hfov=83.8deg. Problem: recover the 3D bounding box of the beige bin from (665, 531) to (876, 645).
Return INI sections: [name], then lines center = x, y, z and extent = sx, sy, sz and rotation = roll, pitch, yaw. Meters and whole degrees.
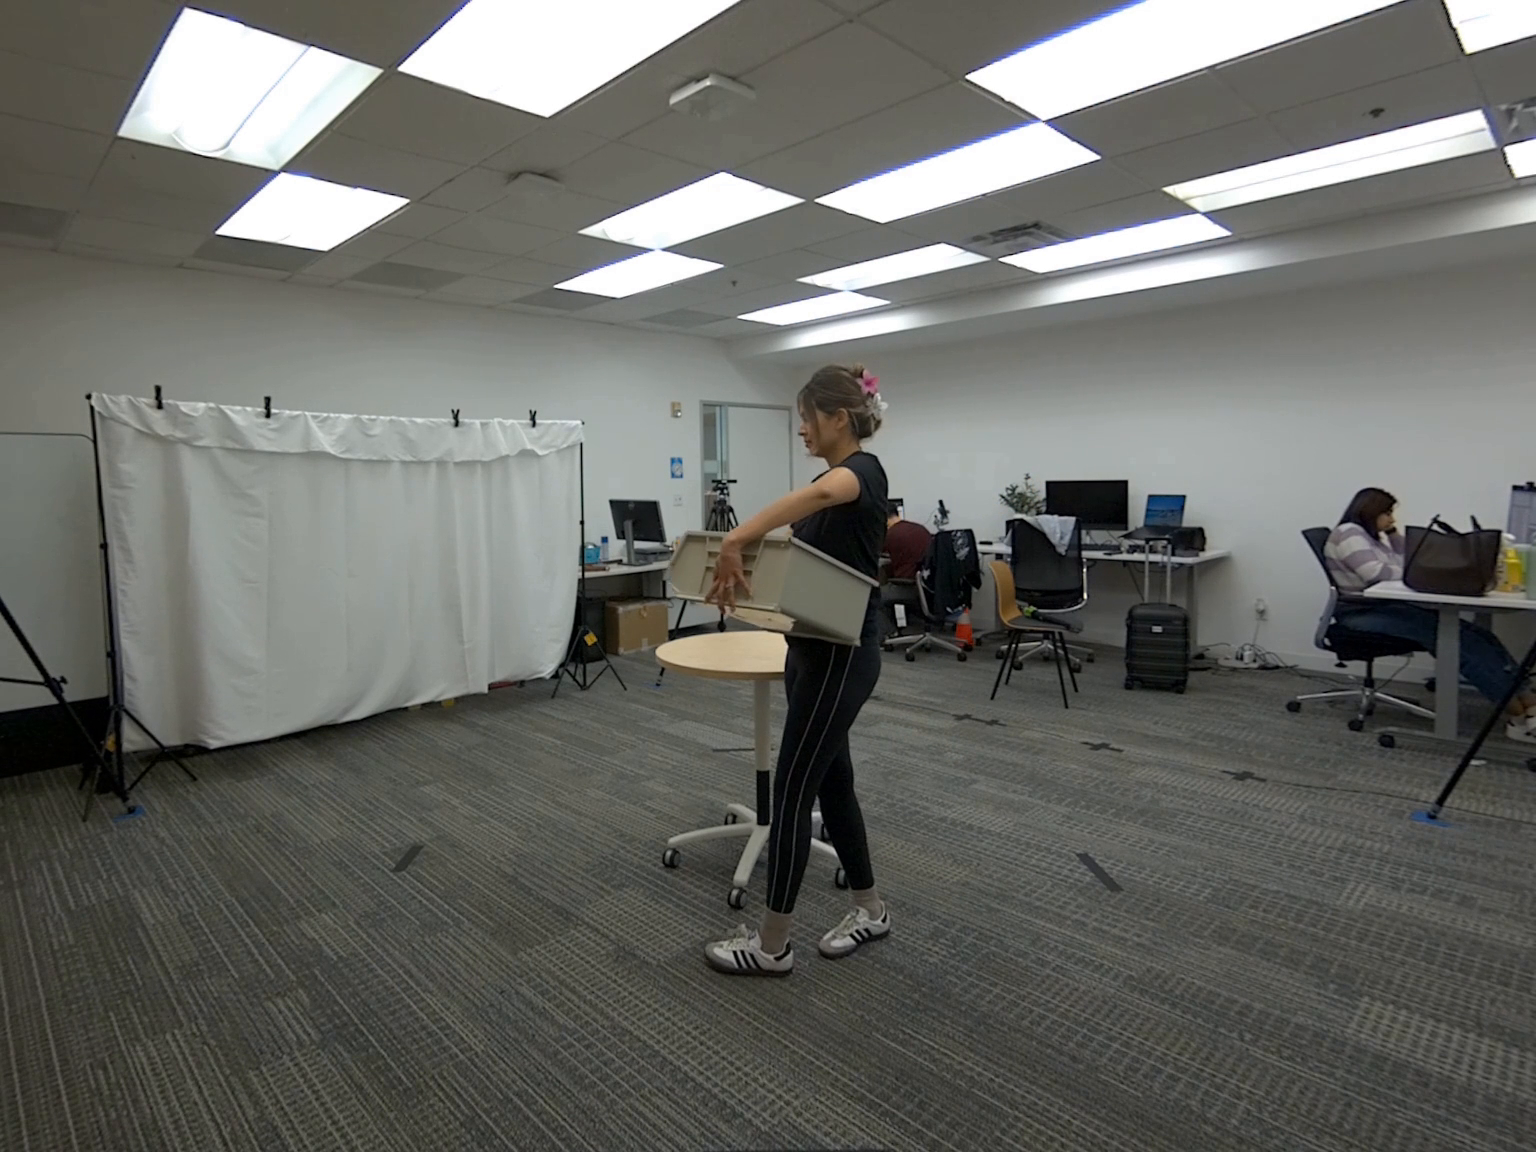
[beige bin]
center = 0.011, 0.038, 2.251
extent = 0.389, 0.190, 0.406
rotation = 6, -13, 40
